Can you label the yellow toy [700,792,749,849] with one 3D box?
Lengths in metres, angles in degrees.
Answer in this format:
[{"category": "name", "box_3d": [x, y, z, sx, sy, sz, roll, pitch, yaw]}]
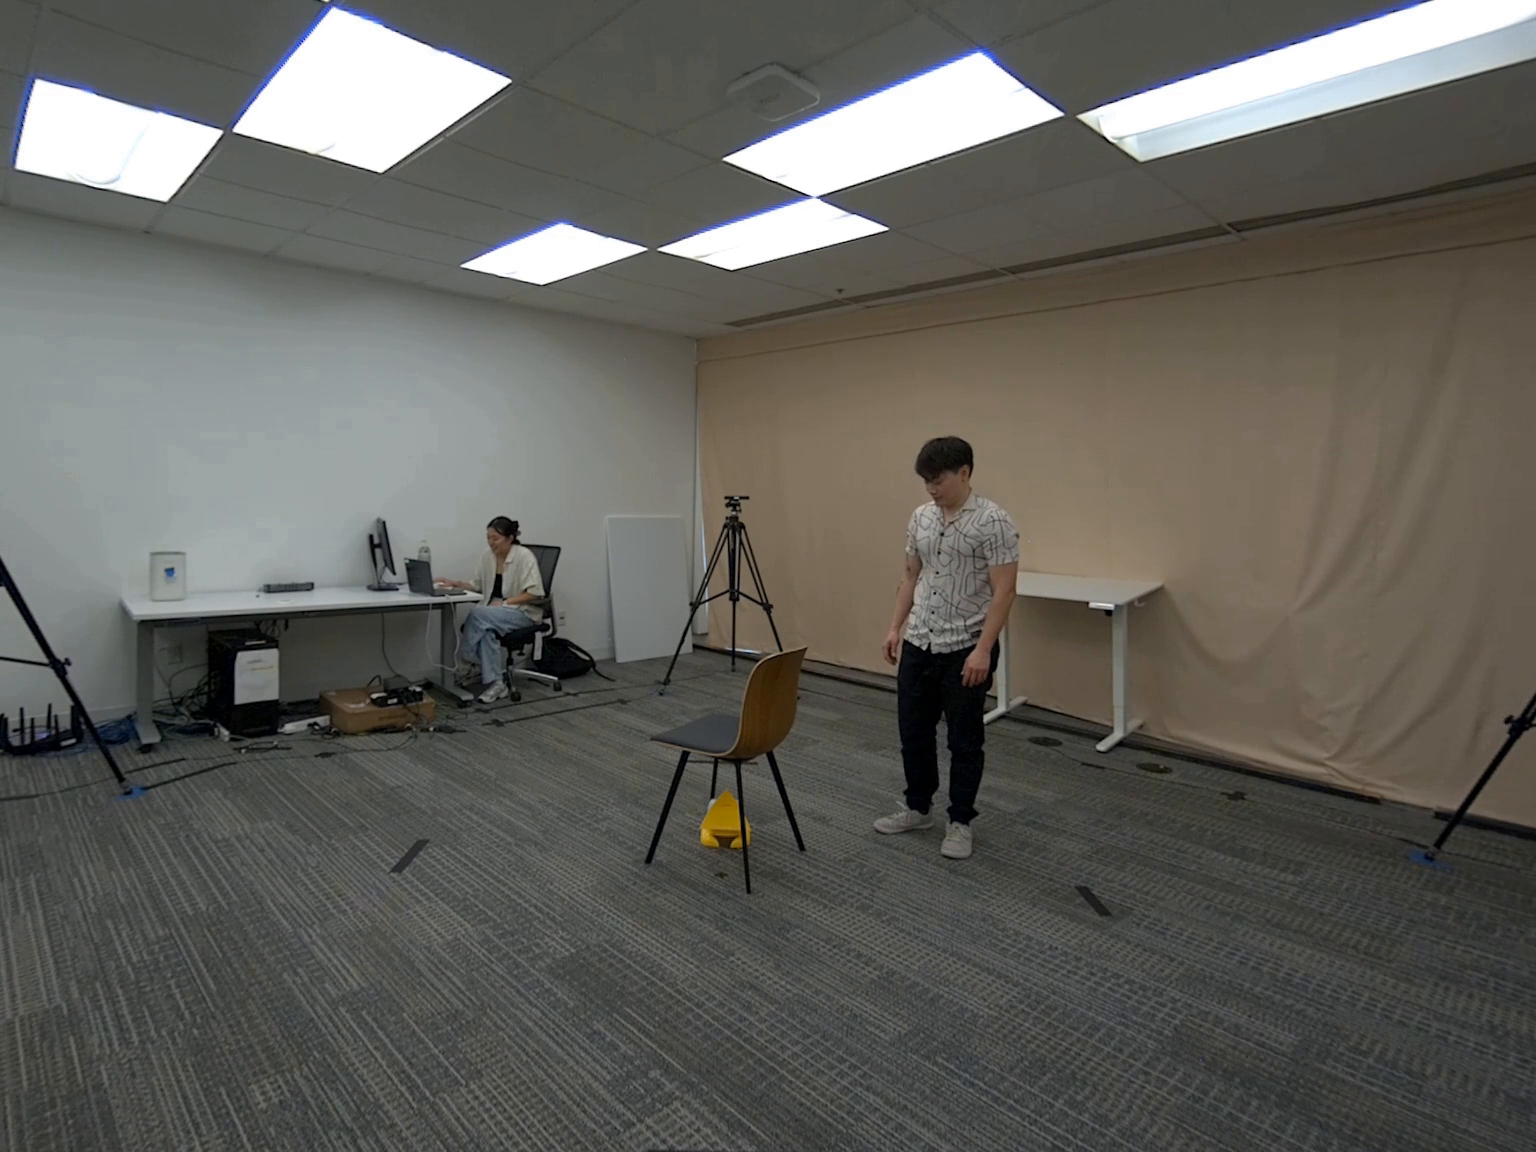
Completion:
[{"category": "yellow toy", "box_3d": [-0.176, 0.959, 3.418, 0.205, 0.230, 0.193, 2, 5, 0]}]
